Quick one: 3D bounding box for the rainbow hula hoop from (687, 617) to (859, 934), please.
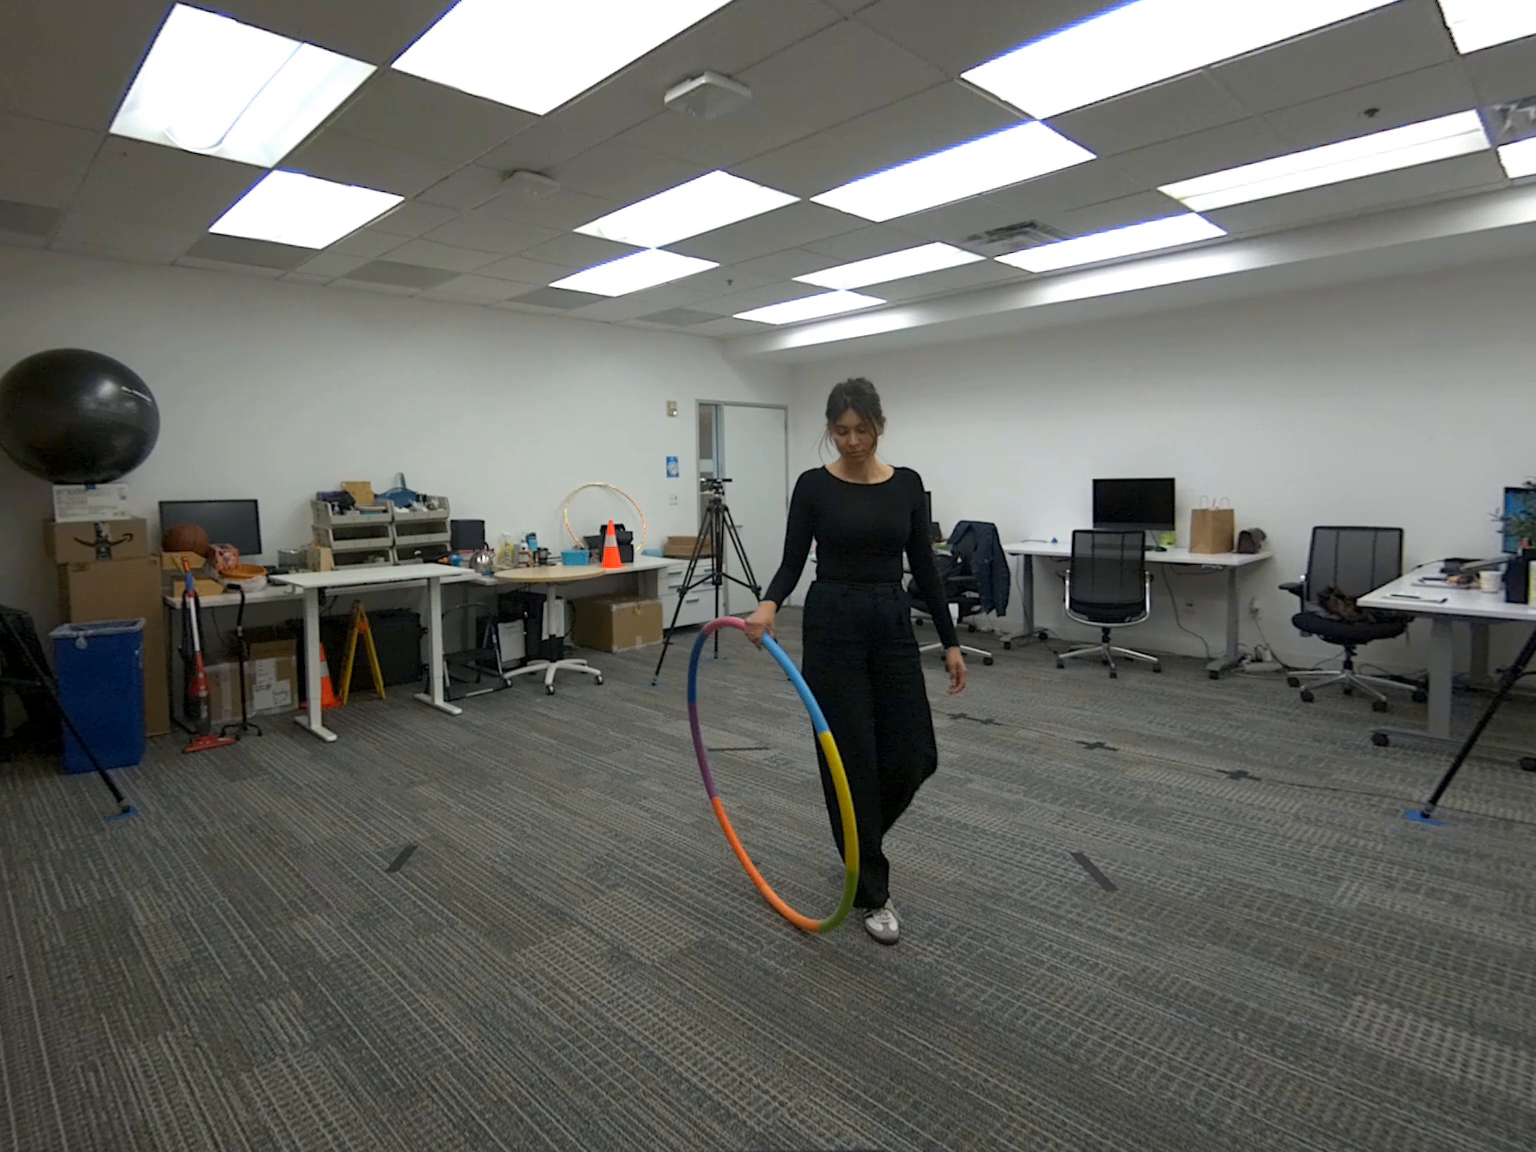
[{"bbox_3d":[-0.015,0.609,2.679,0.035,0.970,1.005,-13,10,-28],"label":"rainbow hula hoop"}]
